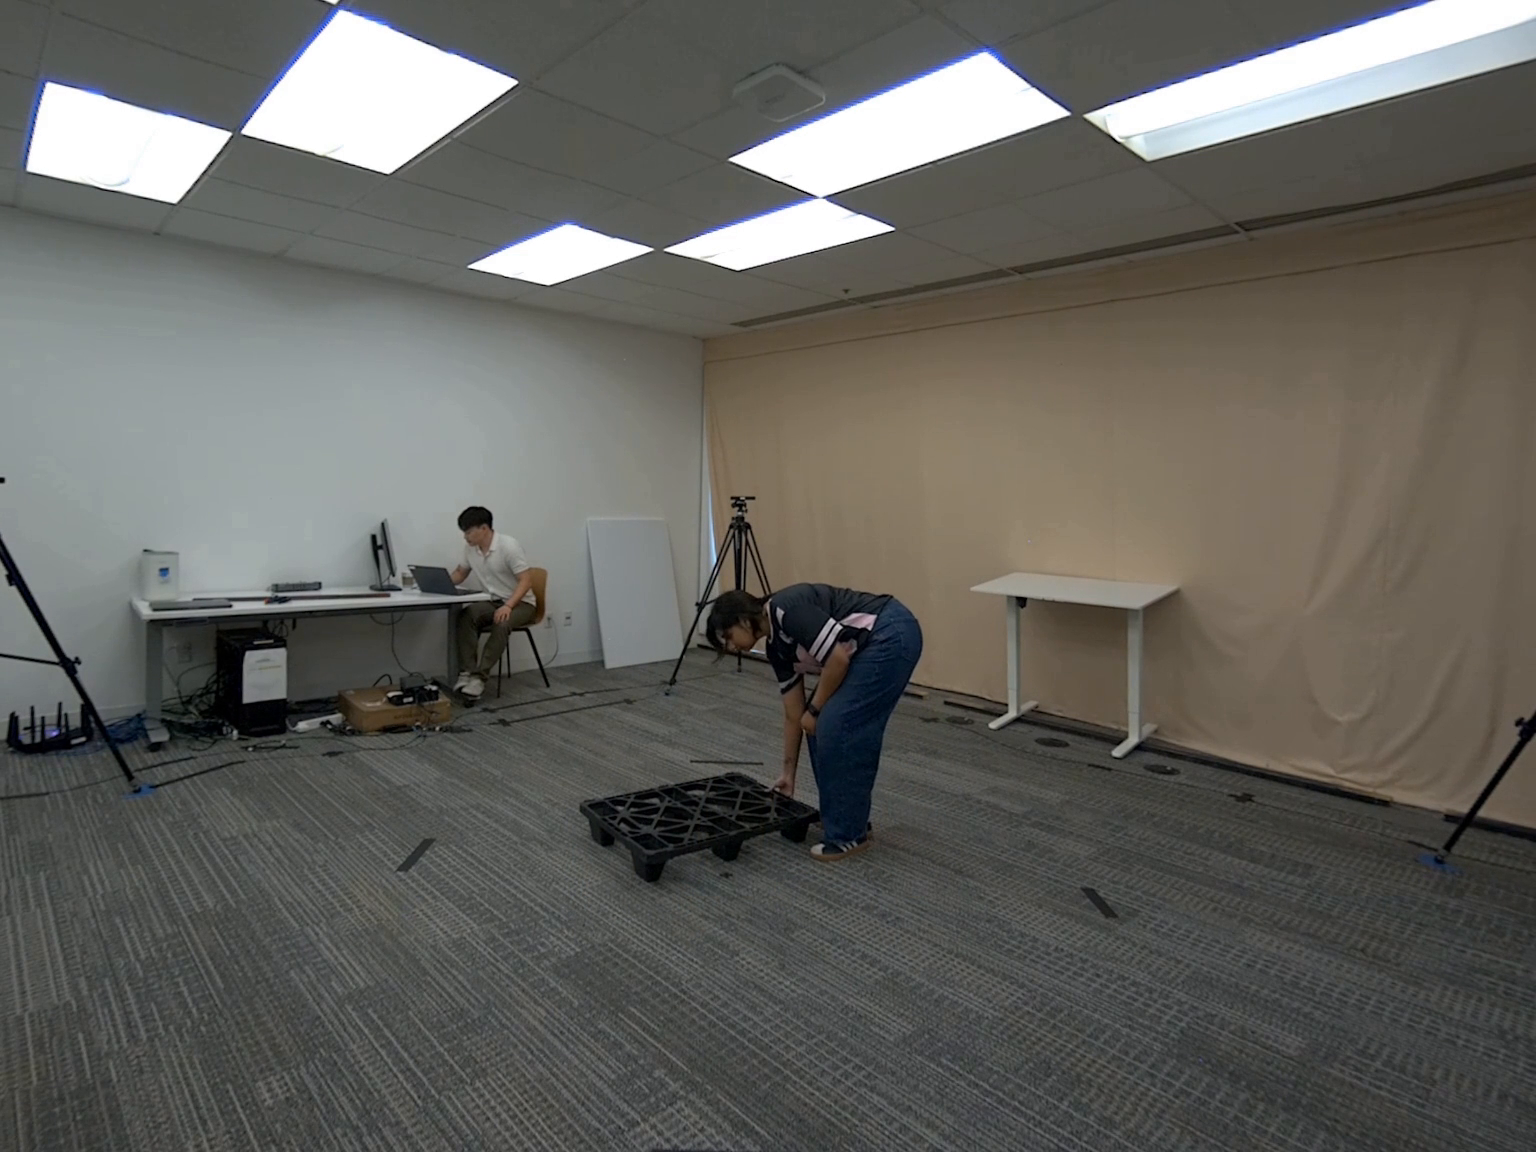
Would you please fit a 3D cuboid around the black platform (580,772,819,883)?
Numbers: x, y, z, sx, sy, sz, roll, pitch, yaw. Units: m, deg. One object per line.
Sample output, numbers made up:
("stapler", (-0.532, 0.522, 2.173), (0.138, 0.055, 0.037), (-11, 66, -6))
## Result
("black platform", (-0.291, 1.007, 3.419), (0.788, 0.143, 0.620), (-2, 5, -36))
